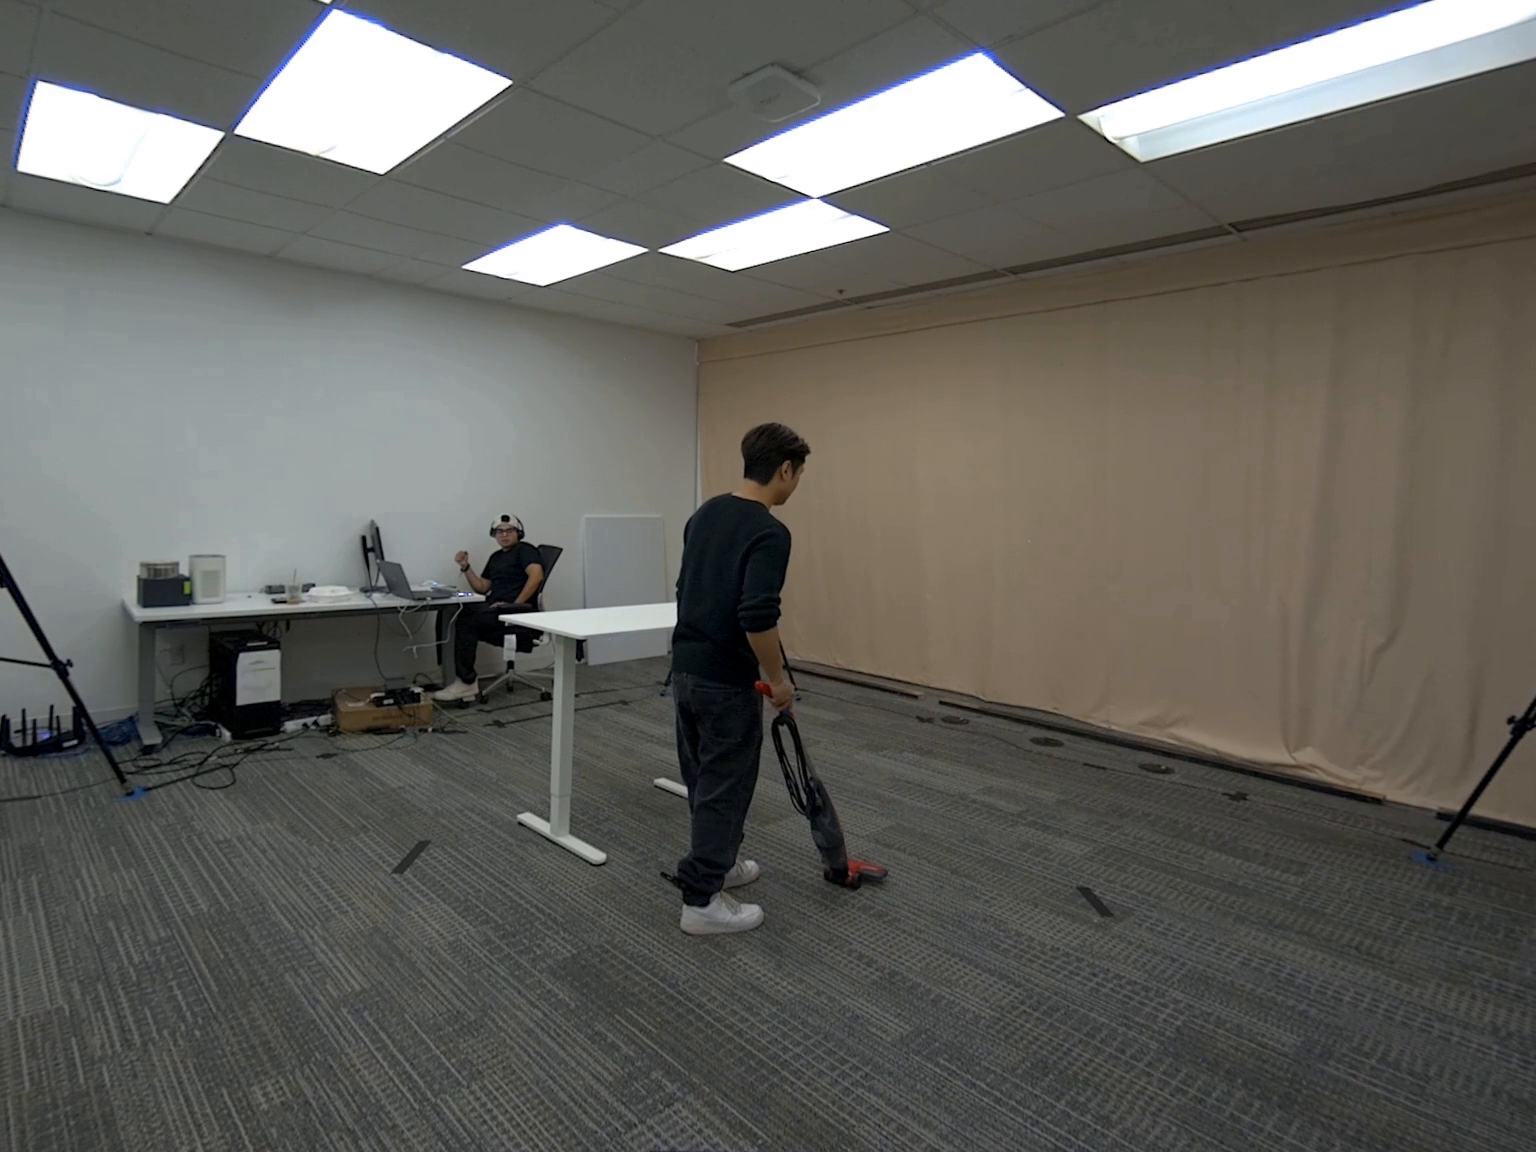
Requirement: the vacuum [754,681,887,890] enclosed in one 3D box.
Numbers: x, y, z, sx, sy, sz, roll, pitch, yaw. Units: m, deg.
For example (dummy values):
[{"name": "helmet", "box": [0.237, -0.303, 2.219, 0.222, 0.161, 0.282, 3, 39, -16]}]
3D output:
[{"name": "vacuum", "box": [0.140, 0.711, 2.818, 0.259, 1.021, 0.144, 8, 45, 35]}]
